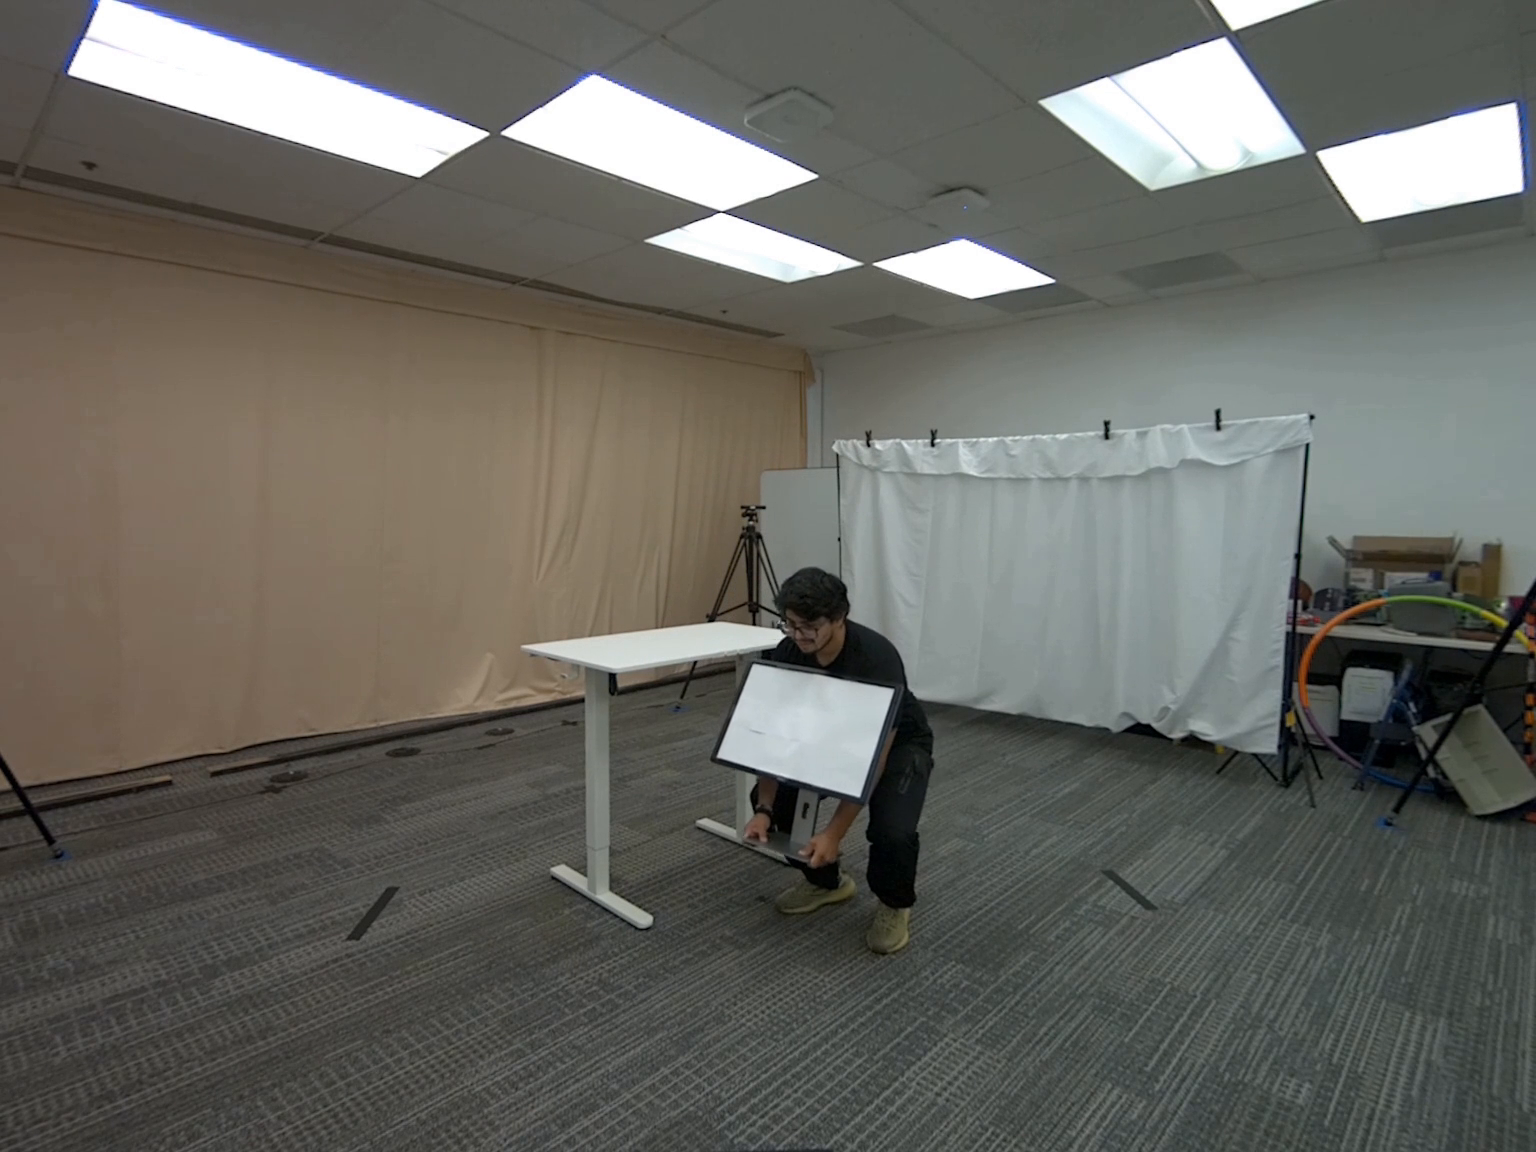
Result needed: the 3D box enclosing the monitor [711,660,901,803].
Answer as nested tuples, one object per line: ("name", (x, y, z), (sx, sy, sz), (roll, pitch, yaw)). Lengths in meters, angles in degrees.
("monitor", (0.125, 0.562, 2.583), (0.584, 0.556, 0.202), (4, -18, 39))
